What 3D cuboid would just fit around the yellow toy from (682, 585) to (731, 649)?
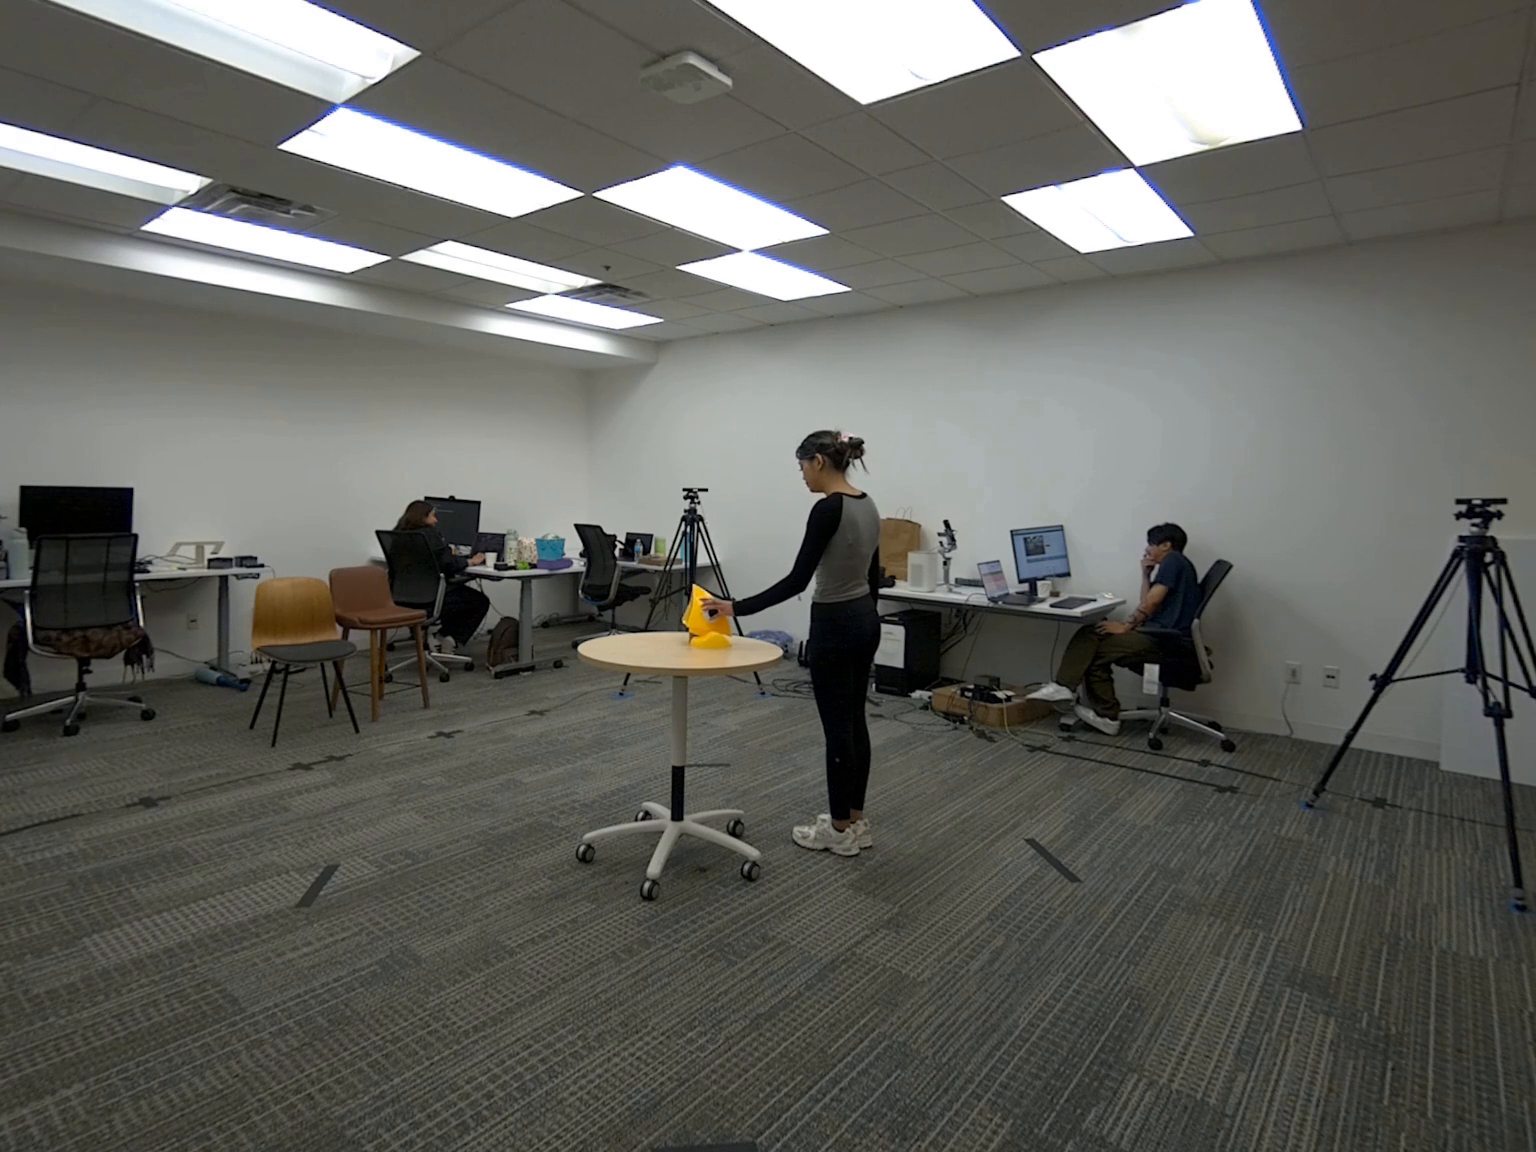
[{"bbox_3d":[-0.244,0.142,3.325,0.191,0.230,0.207,-2,4,-9],"label":"yellow toy"}]
